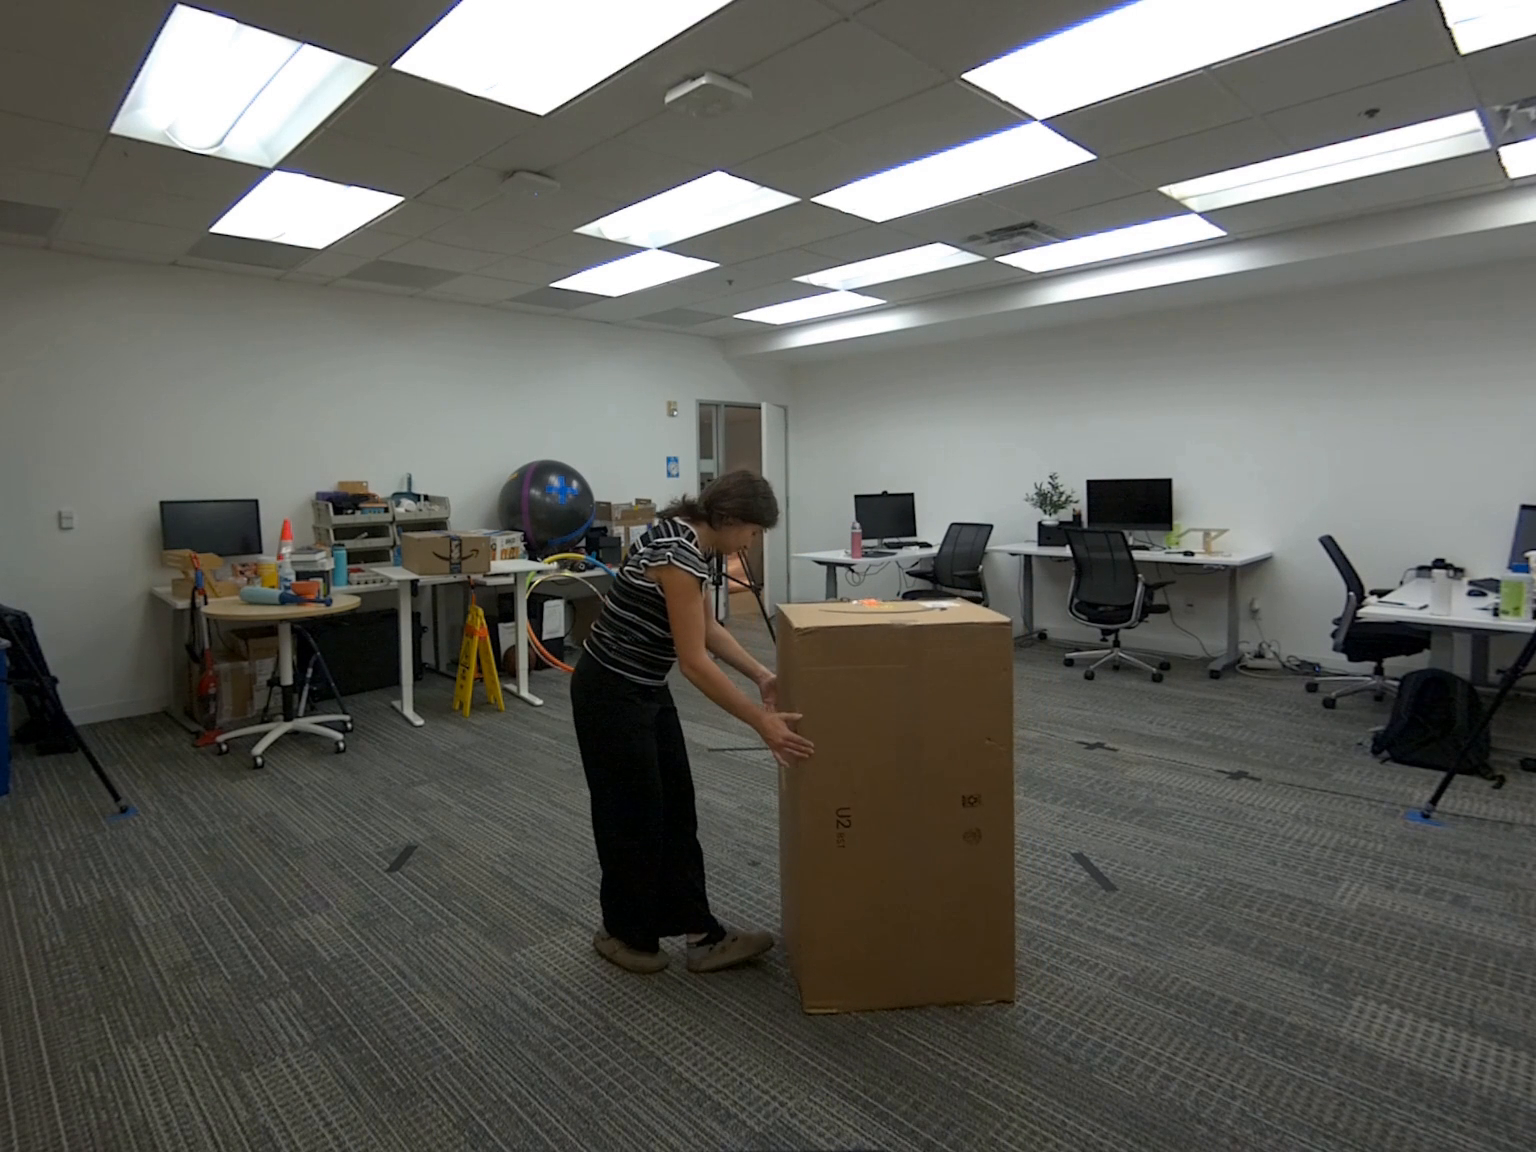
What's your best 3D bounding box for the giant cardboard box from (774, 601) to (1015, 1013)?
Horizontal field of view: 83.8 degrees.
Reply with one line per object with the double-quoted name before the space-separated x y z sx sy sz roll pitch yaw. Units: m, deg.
"giant cardboard box" 0.348 0.607 2.425 0.575 1.022 0.430 -2 4 -5
